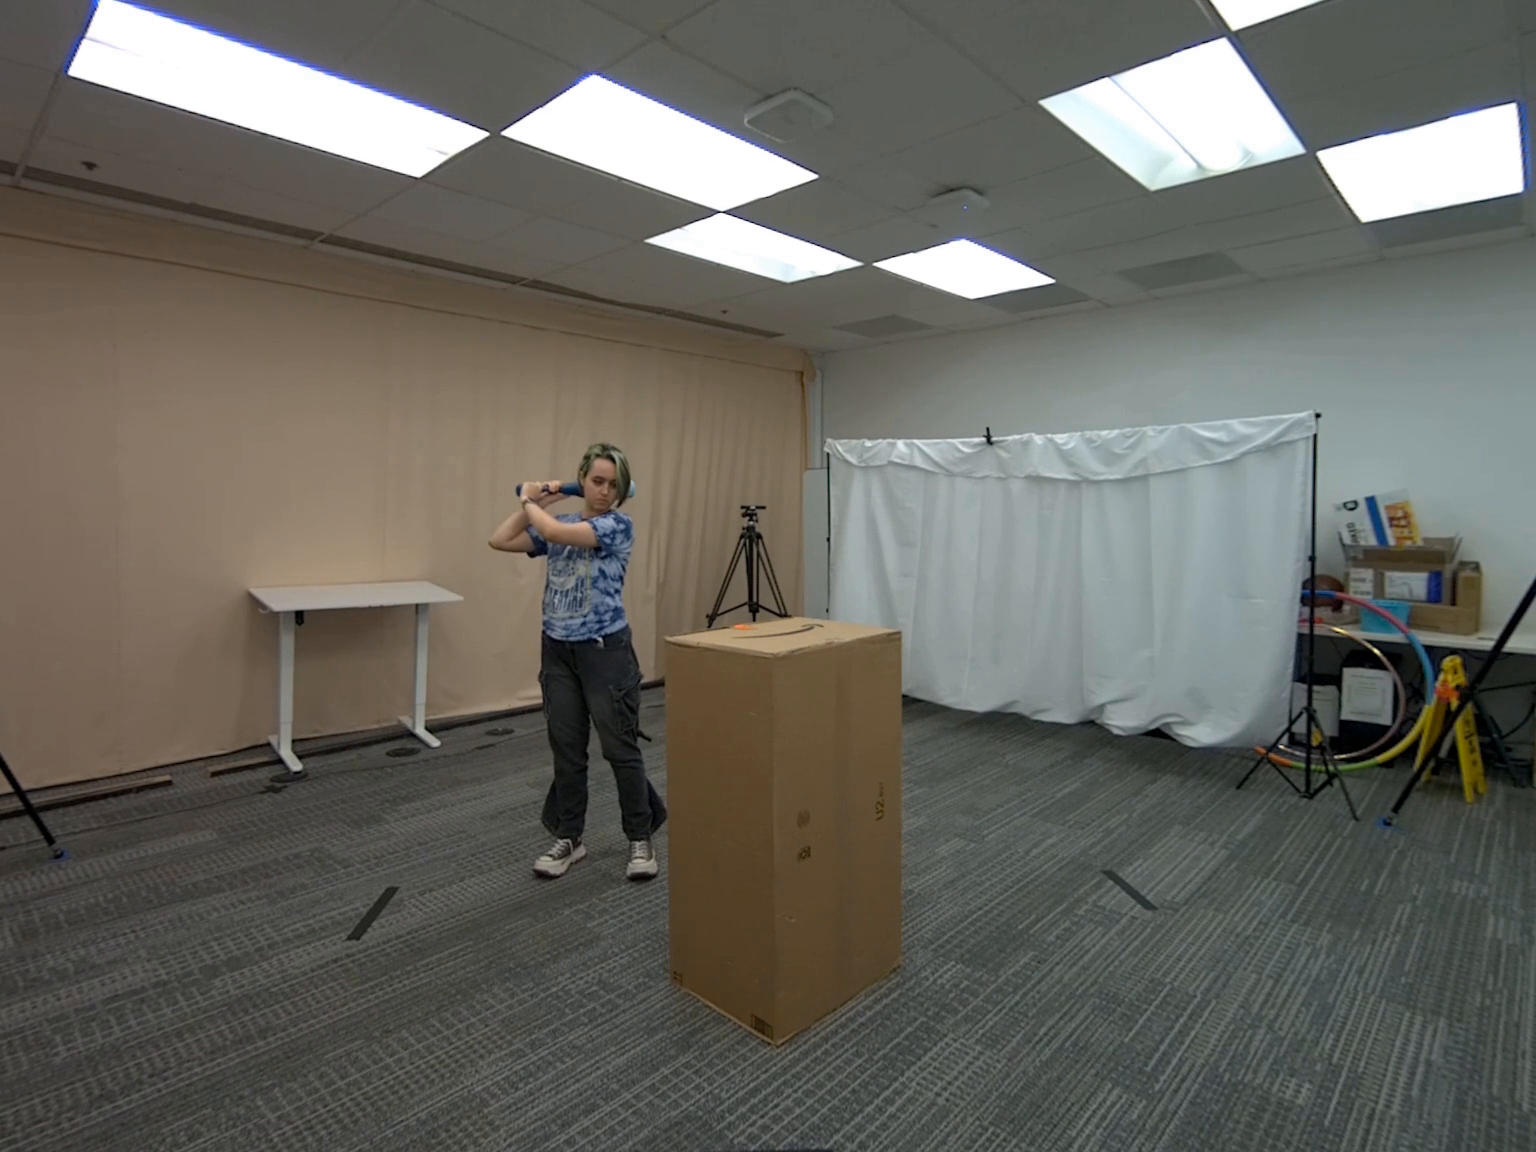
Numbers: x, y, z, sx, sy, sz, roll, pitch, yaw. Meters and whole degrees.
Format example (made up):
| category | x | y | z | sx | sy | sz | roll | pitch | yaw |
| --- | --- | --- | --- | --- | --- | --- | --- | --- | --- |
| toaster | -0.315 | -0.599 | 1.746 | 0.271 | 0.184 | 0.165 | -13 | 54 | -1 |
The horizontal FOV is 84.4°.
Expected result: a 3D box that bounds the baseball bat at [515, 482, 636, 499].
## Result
| category | x | y | z | sx | sy | sz | roll | pitch | yaw |
| --- | --- | --- | --- | --- | --- | --- | --- | --- | --- |
| baseball bat | -0.766 | -0.346 | 3.374 | 0.092 | 0.089 | 0.527 | 4 | 7 | 44 |
